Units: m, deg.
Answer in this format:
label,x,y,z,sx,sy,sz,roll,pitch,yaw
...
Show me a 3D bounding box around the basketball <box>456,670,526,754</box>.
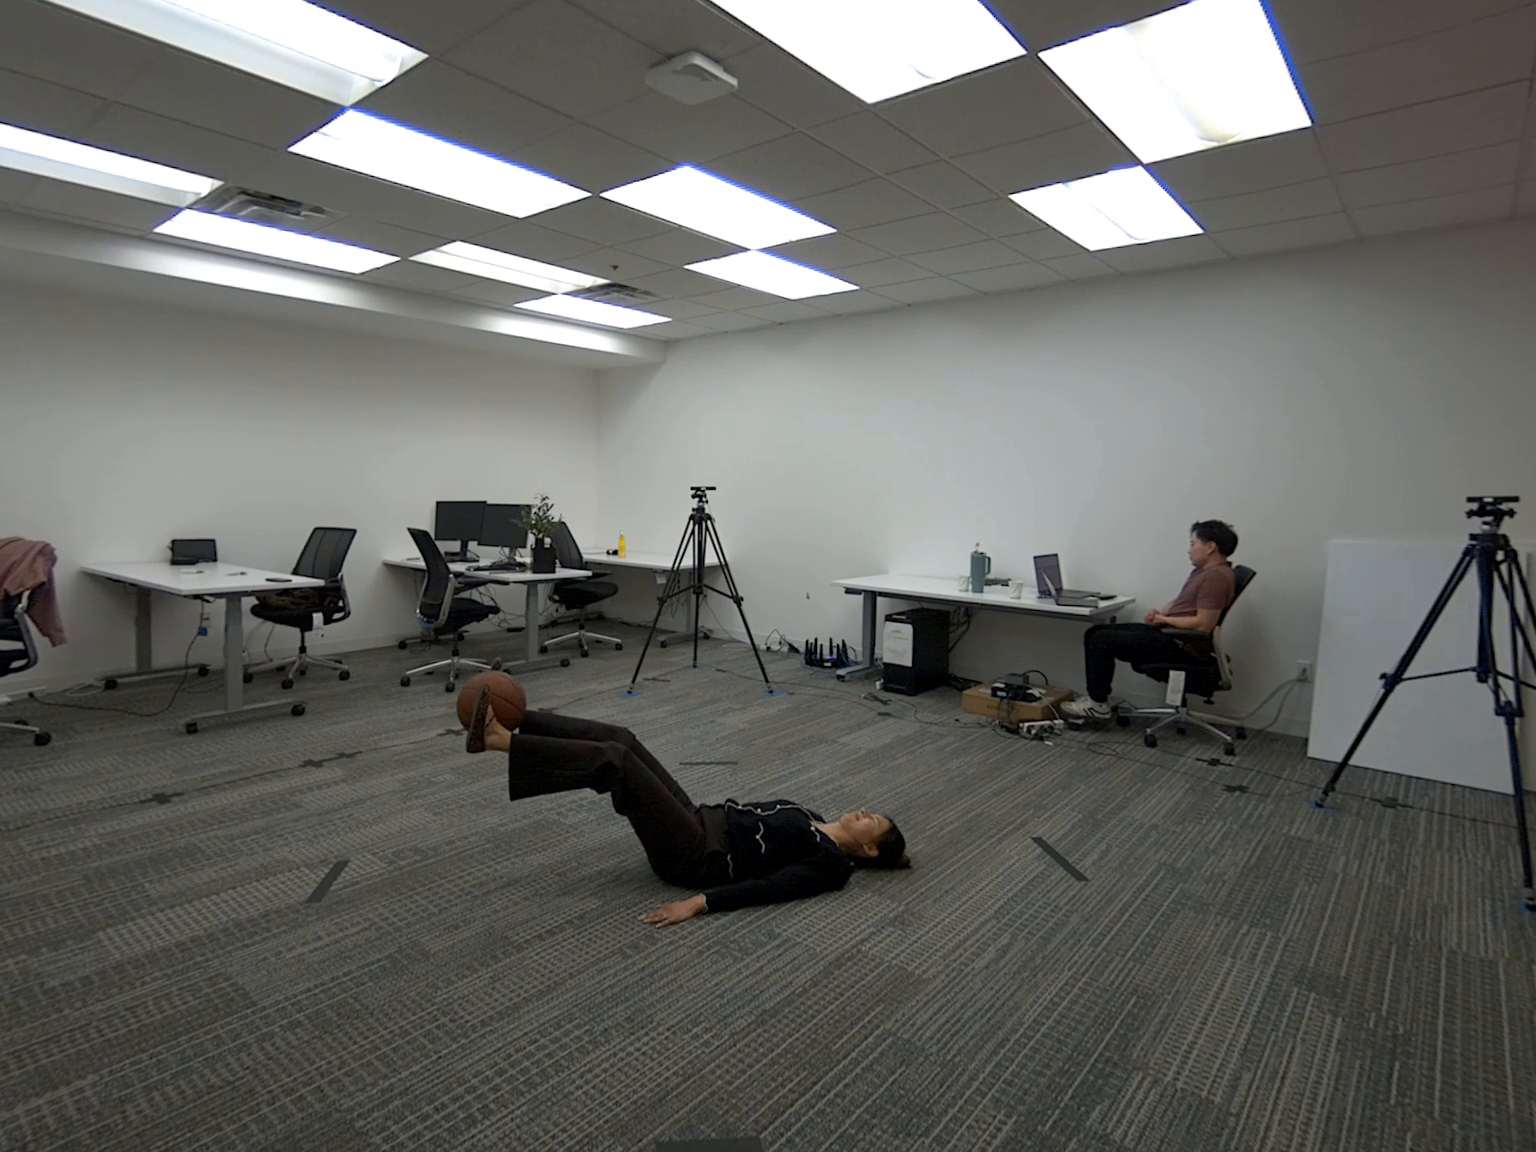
label,x,y,z,sx,sy,sz,roll,pitch,yaw
basketball,-0.975,0.445,2.964,0.236,0.234,0.238,0,7,-2
